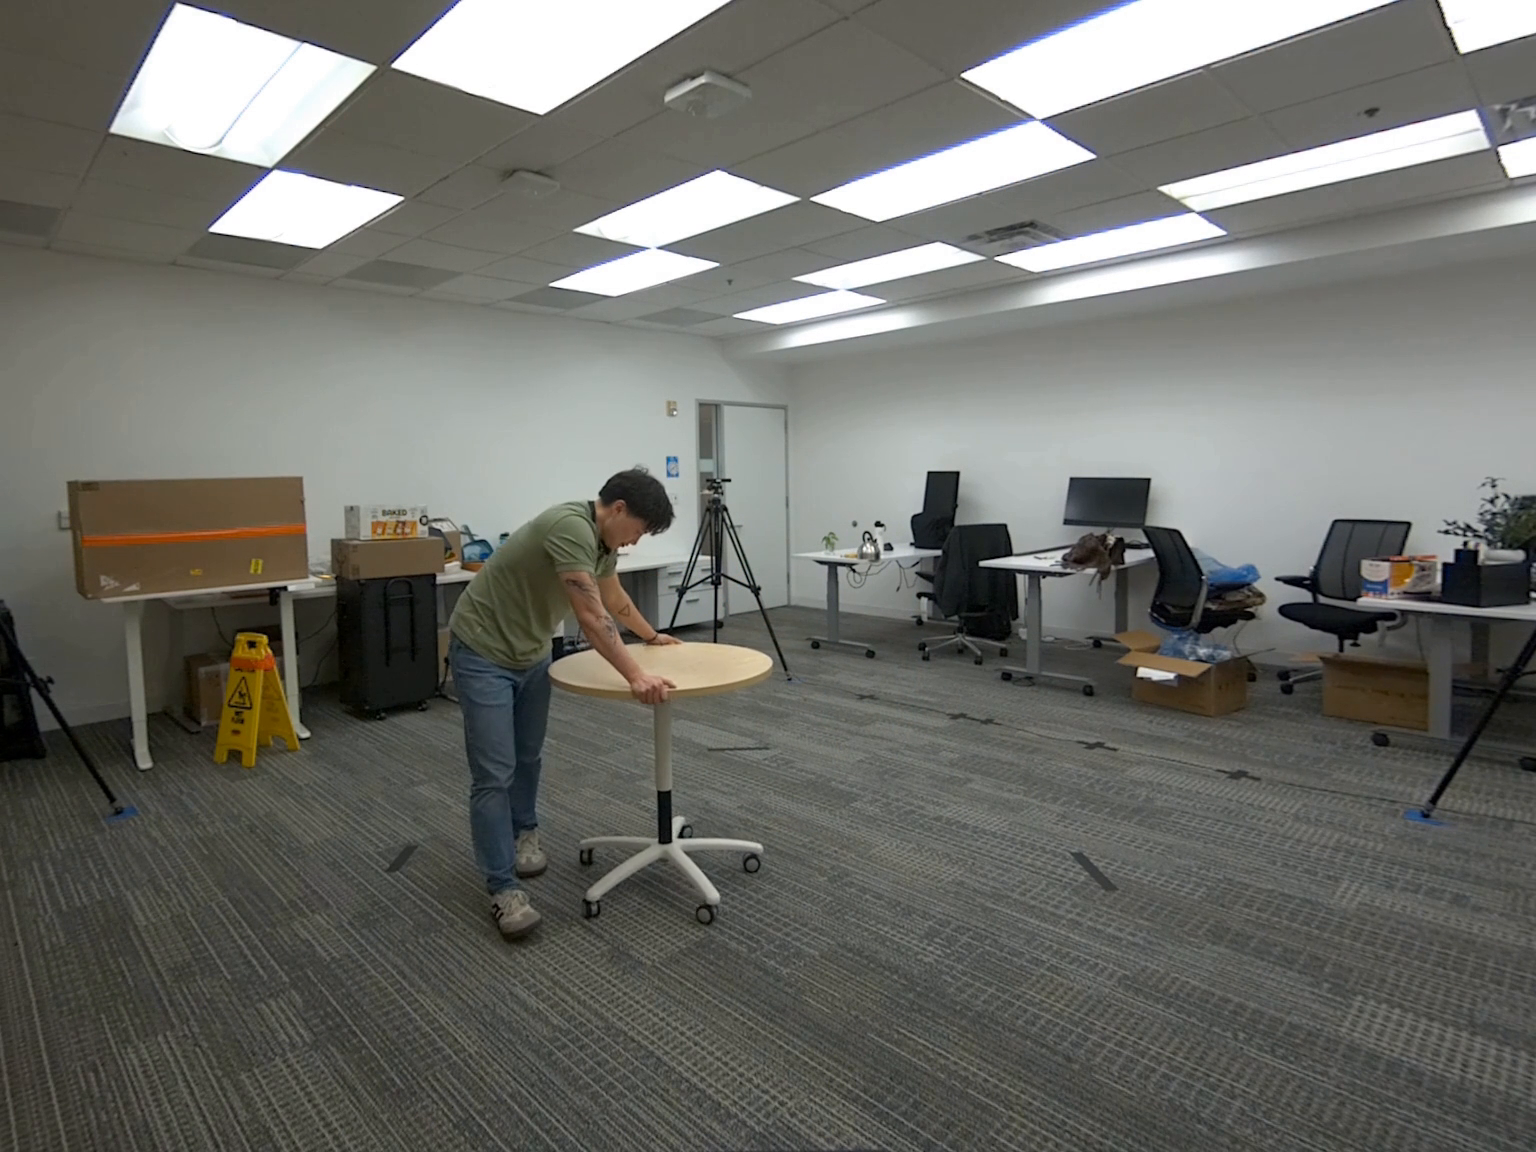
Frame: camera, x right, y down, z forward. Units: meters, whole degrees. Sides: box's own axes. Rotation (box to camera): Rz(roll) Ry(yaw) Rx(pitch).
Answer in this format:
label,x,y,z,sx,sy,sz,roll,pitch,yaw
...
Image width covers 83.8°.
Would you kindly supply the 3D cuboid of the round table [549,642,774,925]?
label,x,y,z,sx,sy,sz,roll,pitch,yaw
round table,-0.357,0.683,2.957,0.763,0.791,0.768,-2,5,-2
